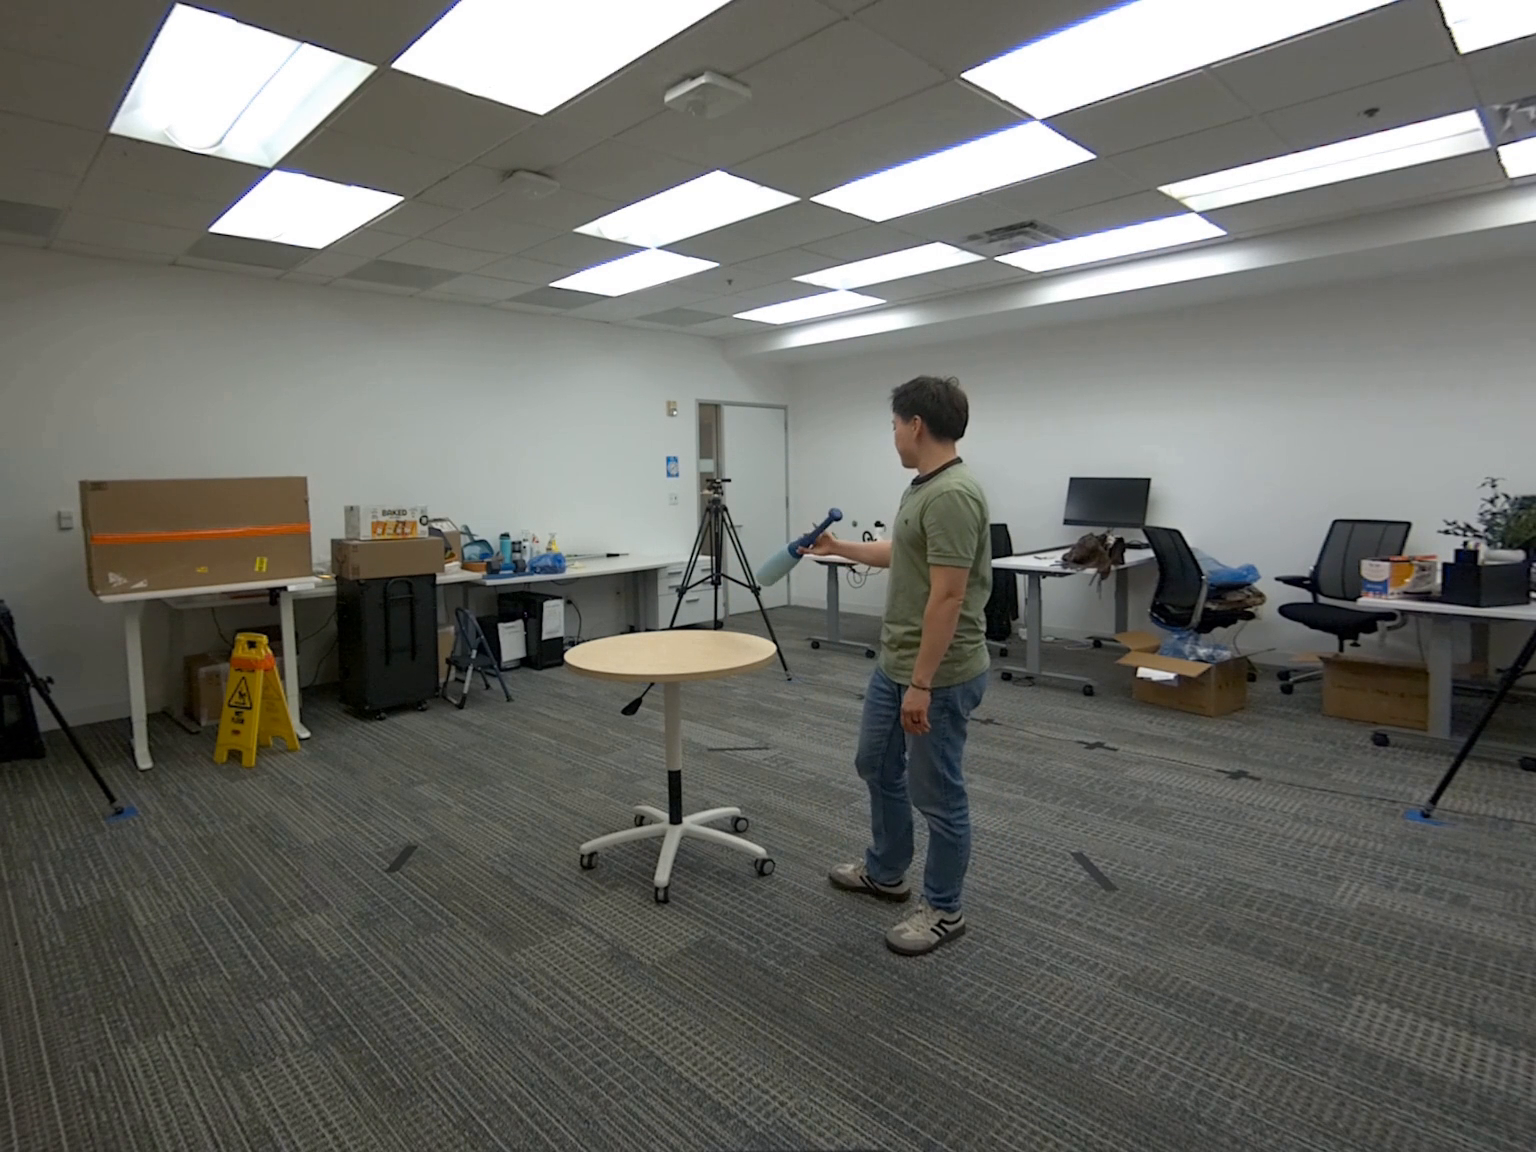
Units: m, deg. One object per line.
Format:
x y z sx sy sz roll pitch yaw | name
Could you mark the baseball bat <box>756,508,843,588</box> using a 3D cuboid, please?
0.111 -0.102 3.092 0.087 0.091 0.543 -3 -23 -31 | baseball bat
